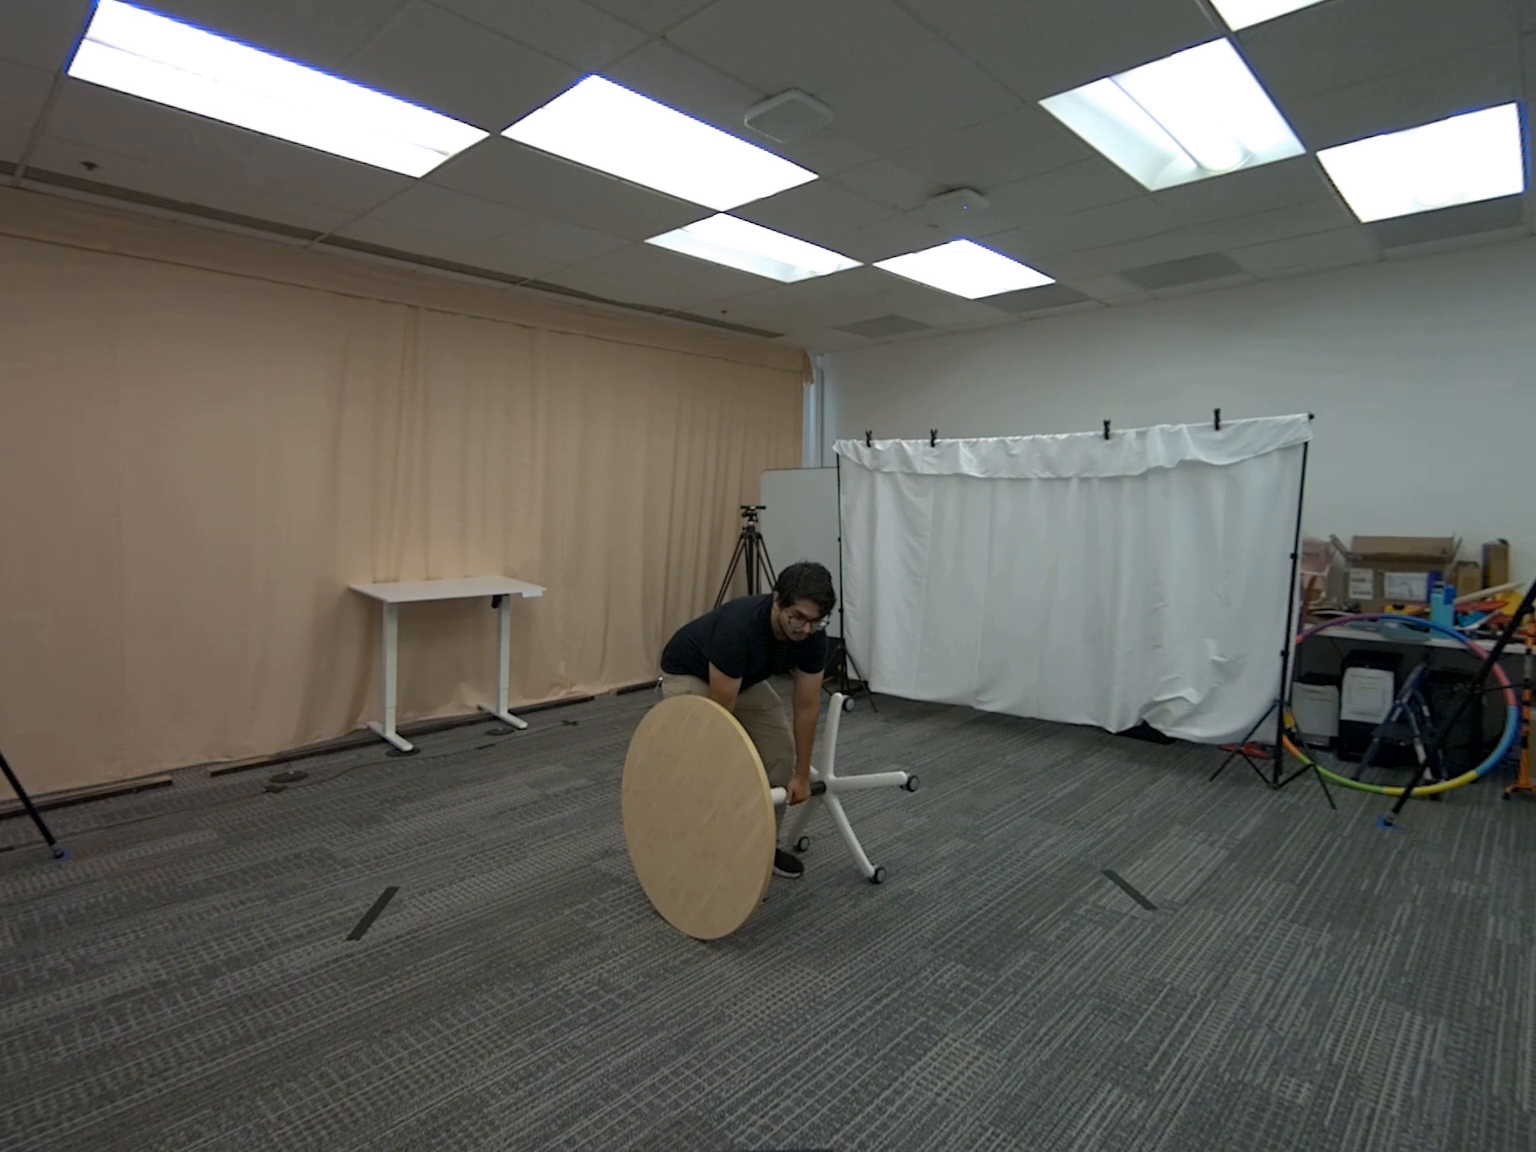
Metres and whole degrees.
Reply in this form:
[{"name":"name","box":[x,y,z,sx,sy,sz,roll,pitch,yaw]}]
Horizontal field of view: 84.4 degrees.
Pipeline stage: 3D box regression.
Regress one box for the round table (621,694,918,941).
[{"name":"round table","box":[0.027,0.782,3.018,0.761,0.785,0.811,2,1,-43]}]
